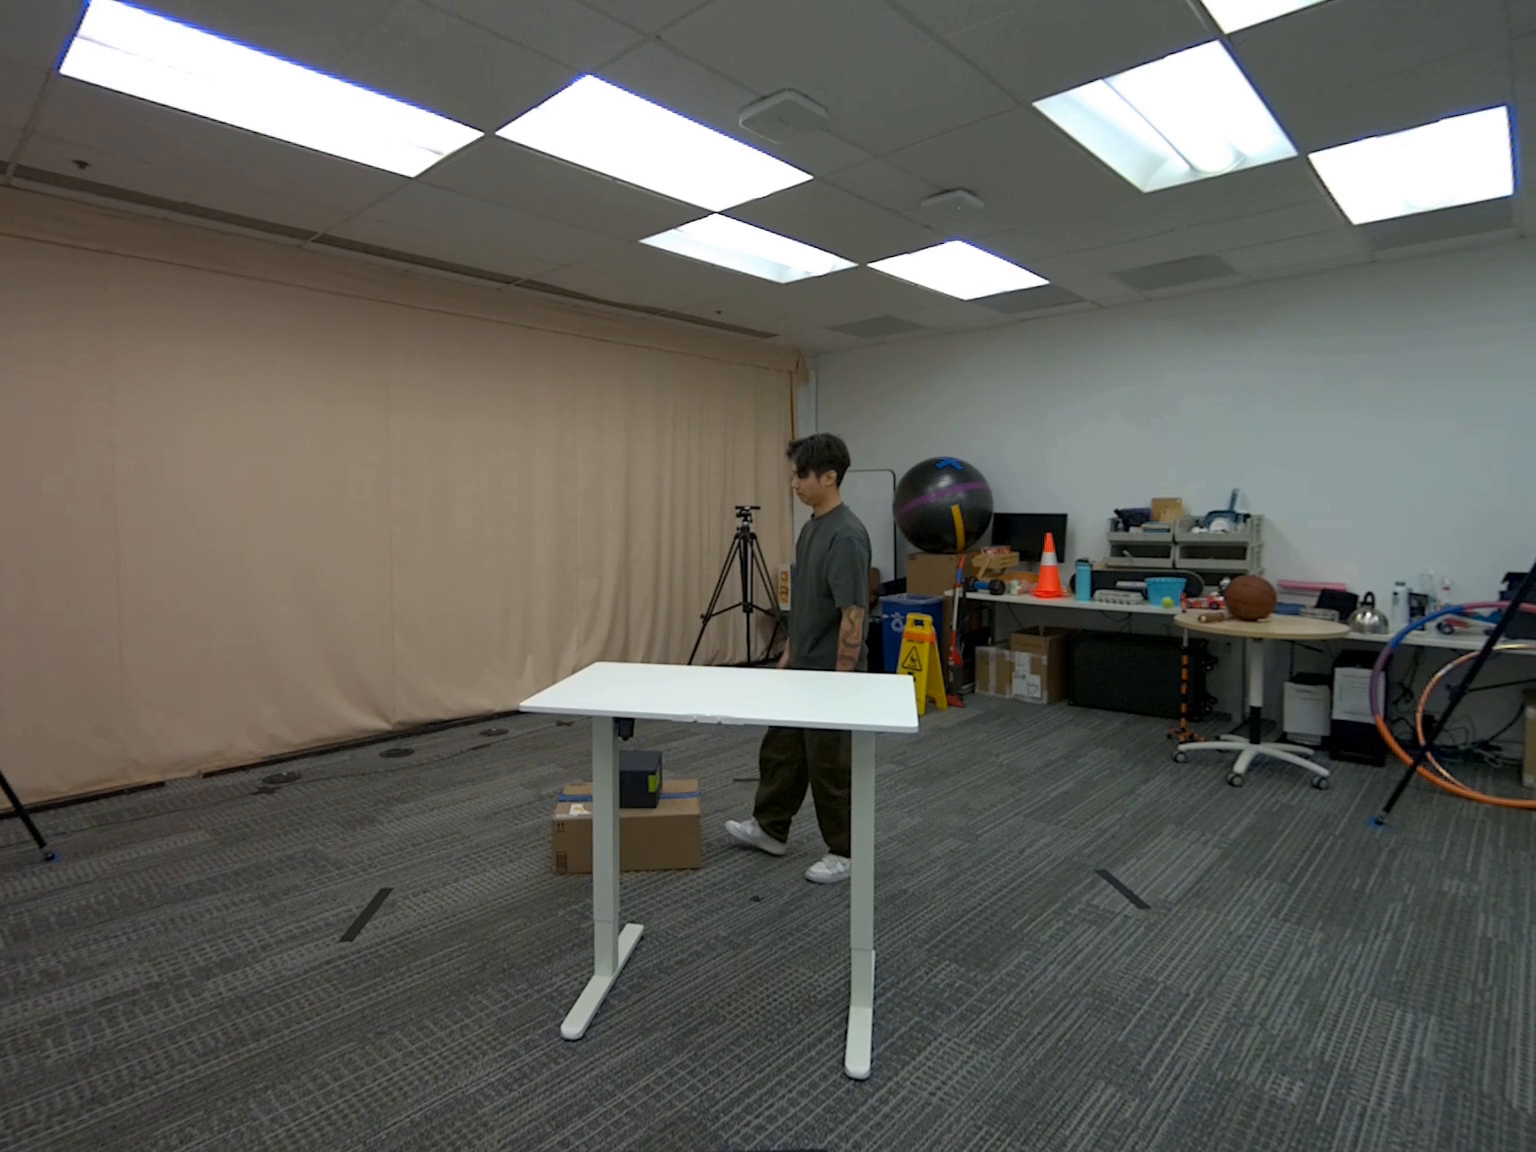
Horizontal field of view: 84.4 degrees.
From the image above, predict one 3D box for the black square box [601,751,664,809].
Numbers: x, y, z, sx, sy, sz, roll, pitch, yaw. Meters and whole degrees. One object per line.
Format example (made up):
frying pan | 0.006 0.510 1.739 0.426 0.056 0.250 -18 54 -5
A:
black square box | -0.542 0.812 3.398 0.217 0.155 0.228 -1 5 0
